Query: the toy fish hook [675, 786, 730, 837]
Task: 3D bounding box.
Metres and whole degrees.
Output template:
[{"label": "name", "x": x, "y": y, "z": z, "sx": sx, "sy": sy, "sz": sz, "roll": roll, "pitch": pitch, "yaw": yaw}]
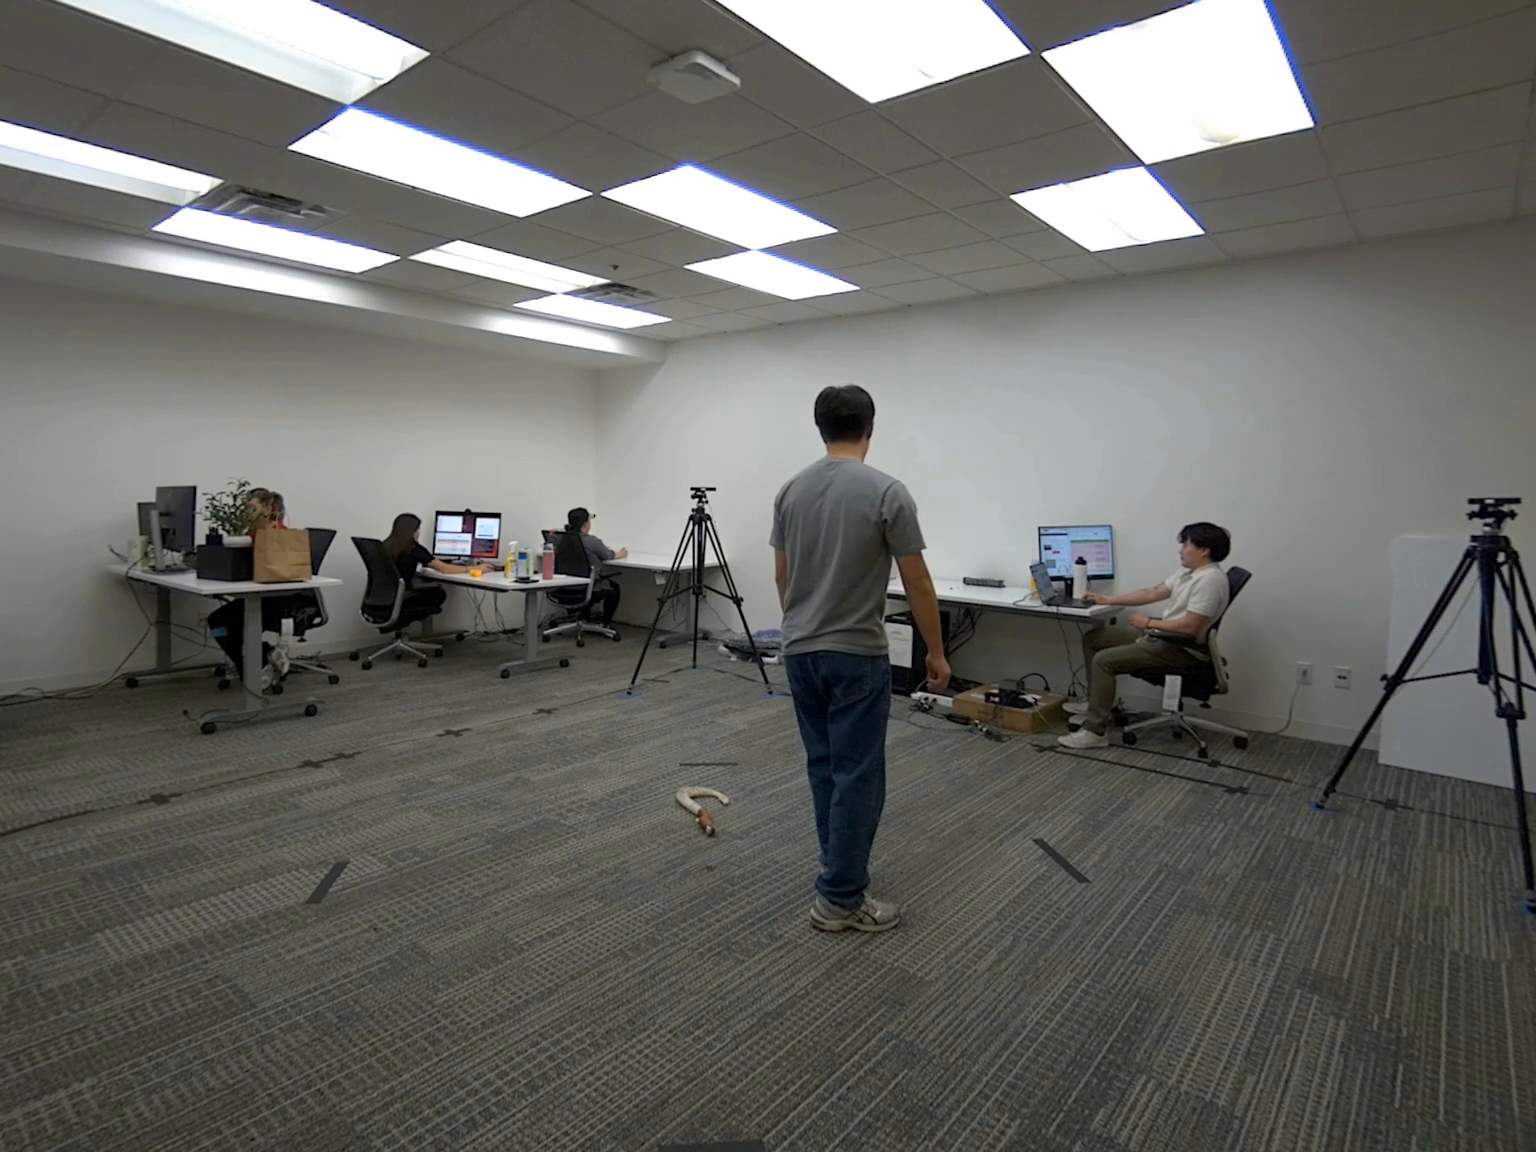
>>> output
[{"label": "toy fish hook", "x": -0.261, "y": 0.986, "z": 3.637, "sx": 0.221, "sy": 0.048, "sz": 0.517, "roll": -2, "pitch": 7, "yaw": -16}]
